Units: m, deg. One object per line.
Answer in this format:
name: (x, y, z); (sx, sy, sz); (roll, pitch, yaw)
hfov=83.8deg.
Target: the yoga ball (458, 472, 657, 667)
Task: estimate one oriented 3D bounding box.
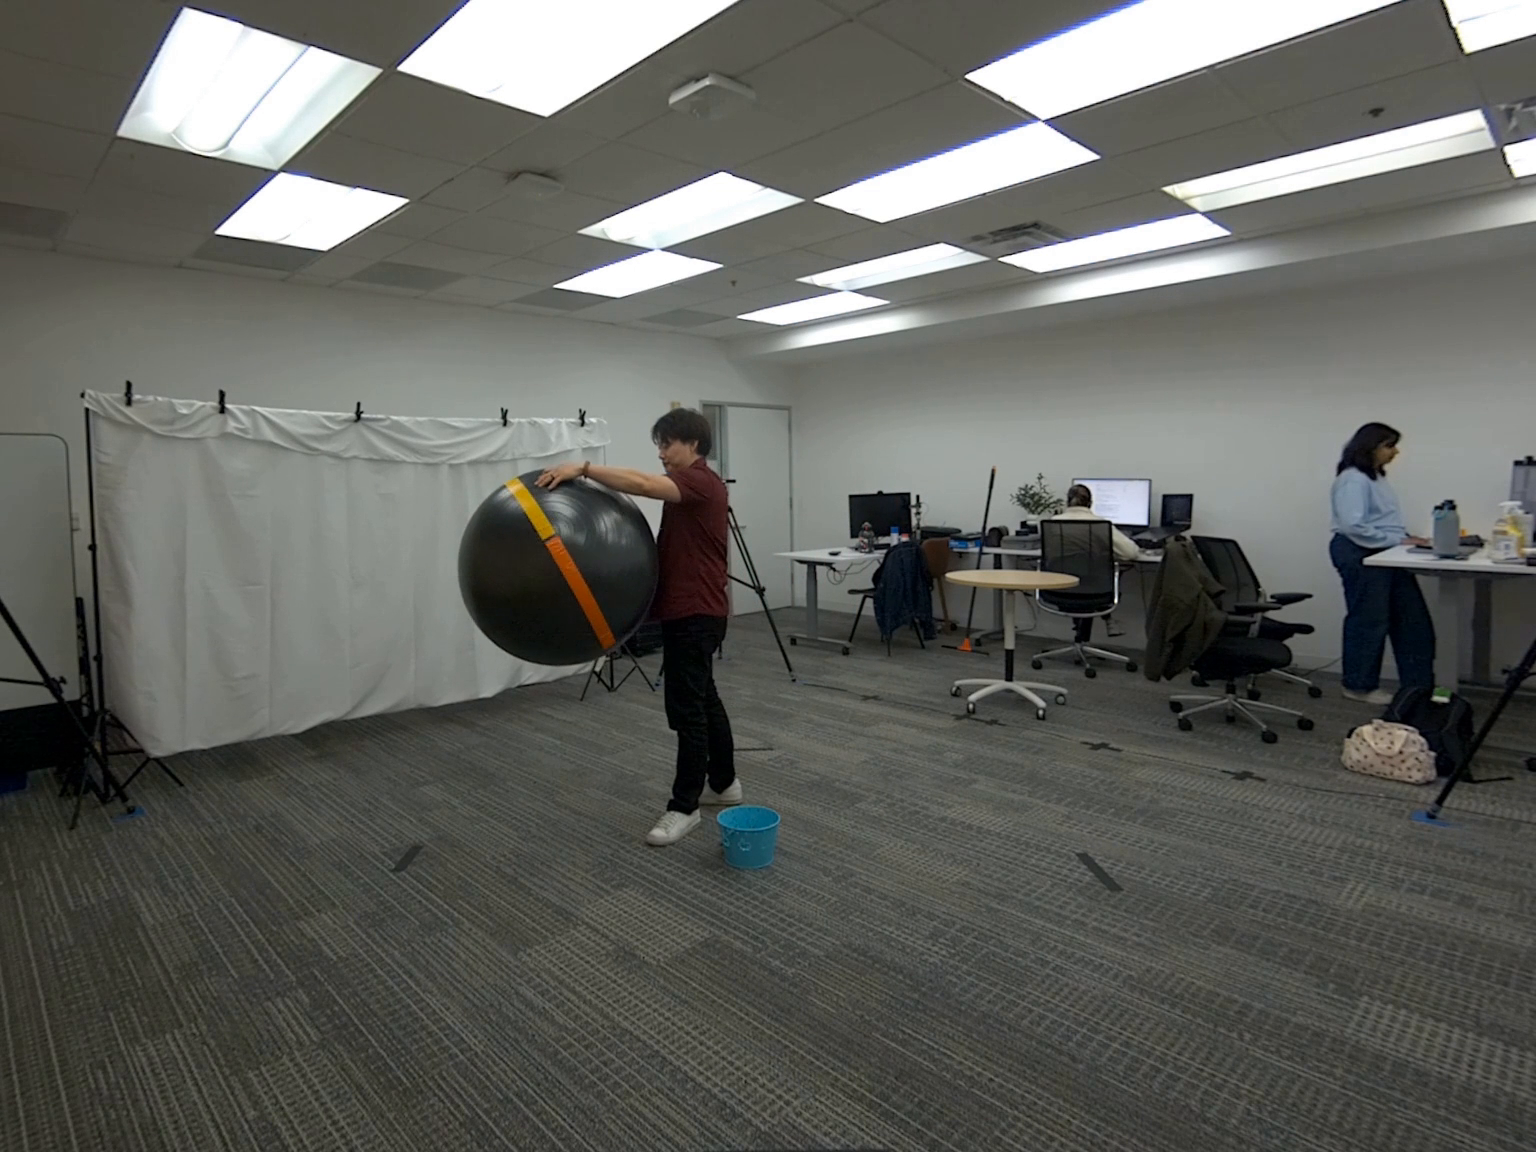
yoga ball: (-0.804, -0.034, 3.293); (0.757, 0.755, 0.762); (-1, 5, -2)
